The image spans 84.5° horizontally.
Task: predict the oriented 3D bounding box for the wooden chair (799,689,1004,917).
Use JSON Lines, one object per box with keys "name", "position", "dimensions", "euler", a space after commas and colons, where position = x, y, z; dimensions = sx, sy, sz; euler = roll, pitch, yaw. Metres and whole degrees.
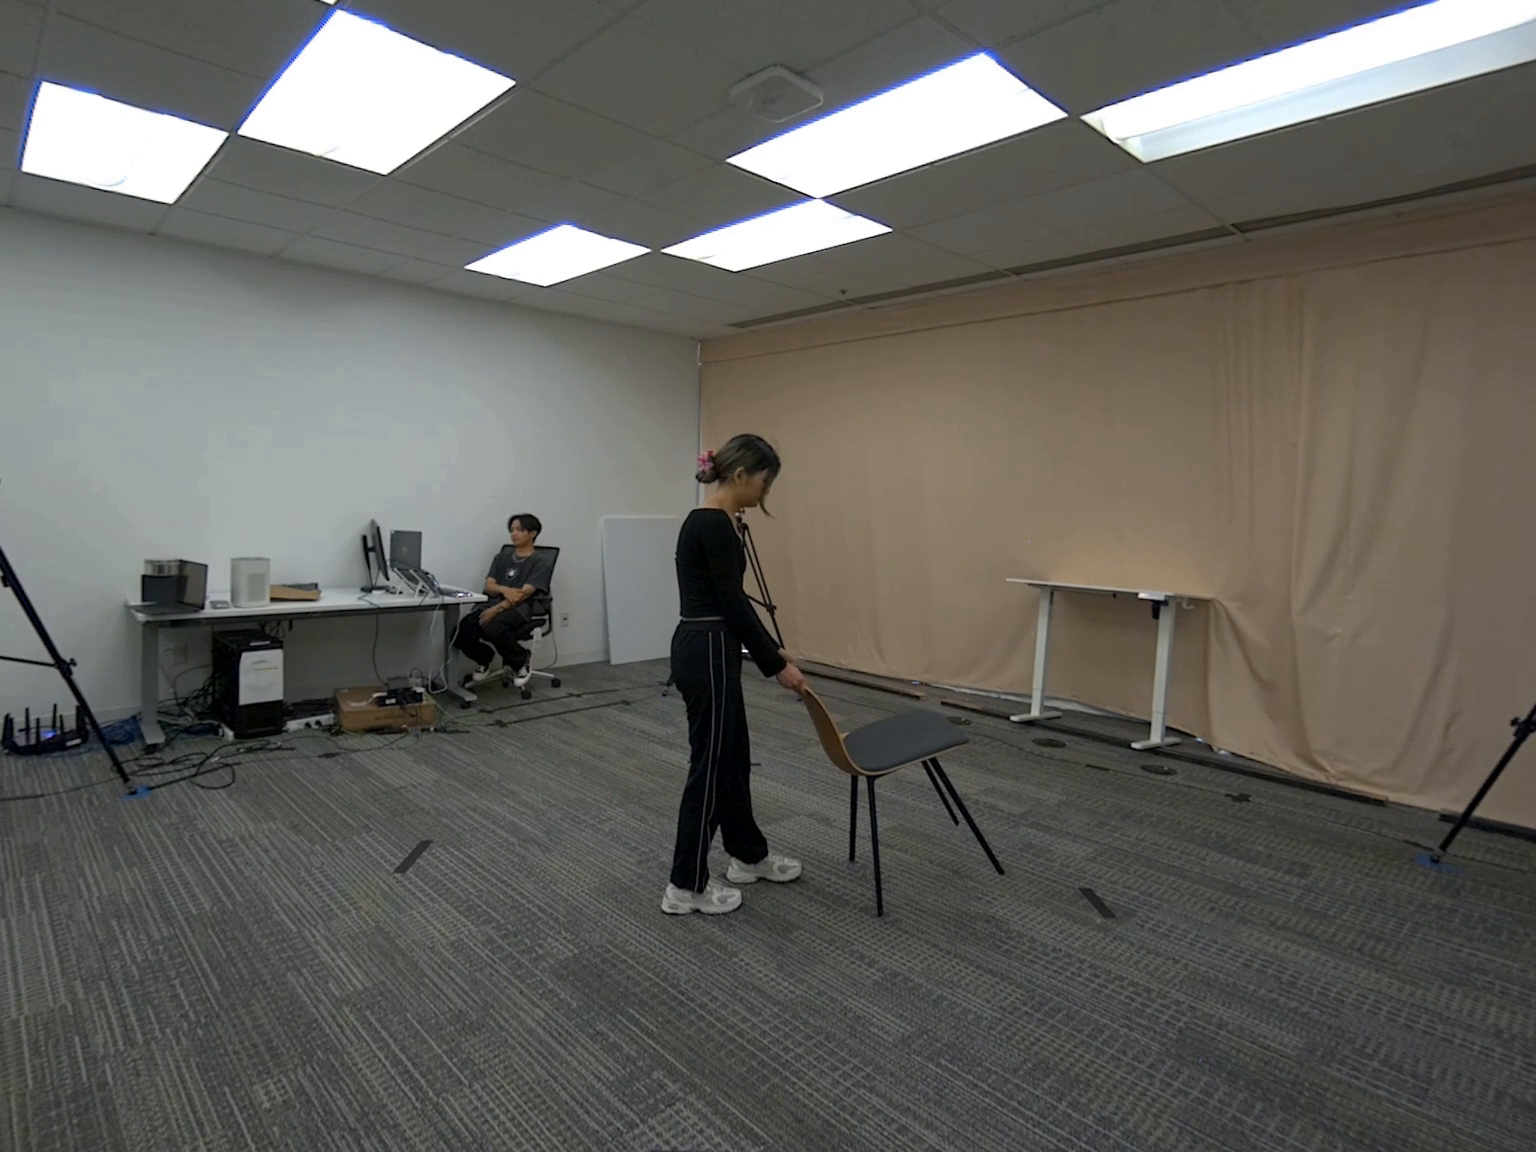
{"name": "wooden chair", "position": [0.431, 0.648, 3.018], "dimensions": [0.522, 0.873, 0.481], "euler": [-22, 5, -4]}
